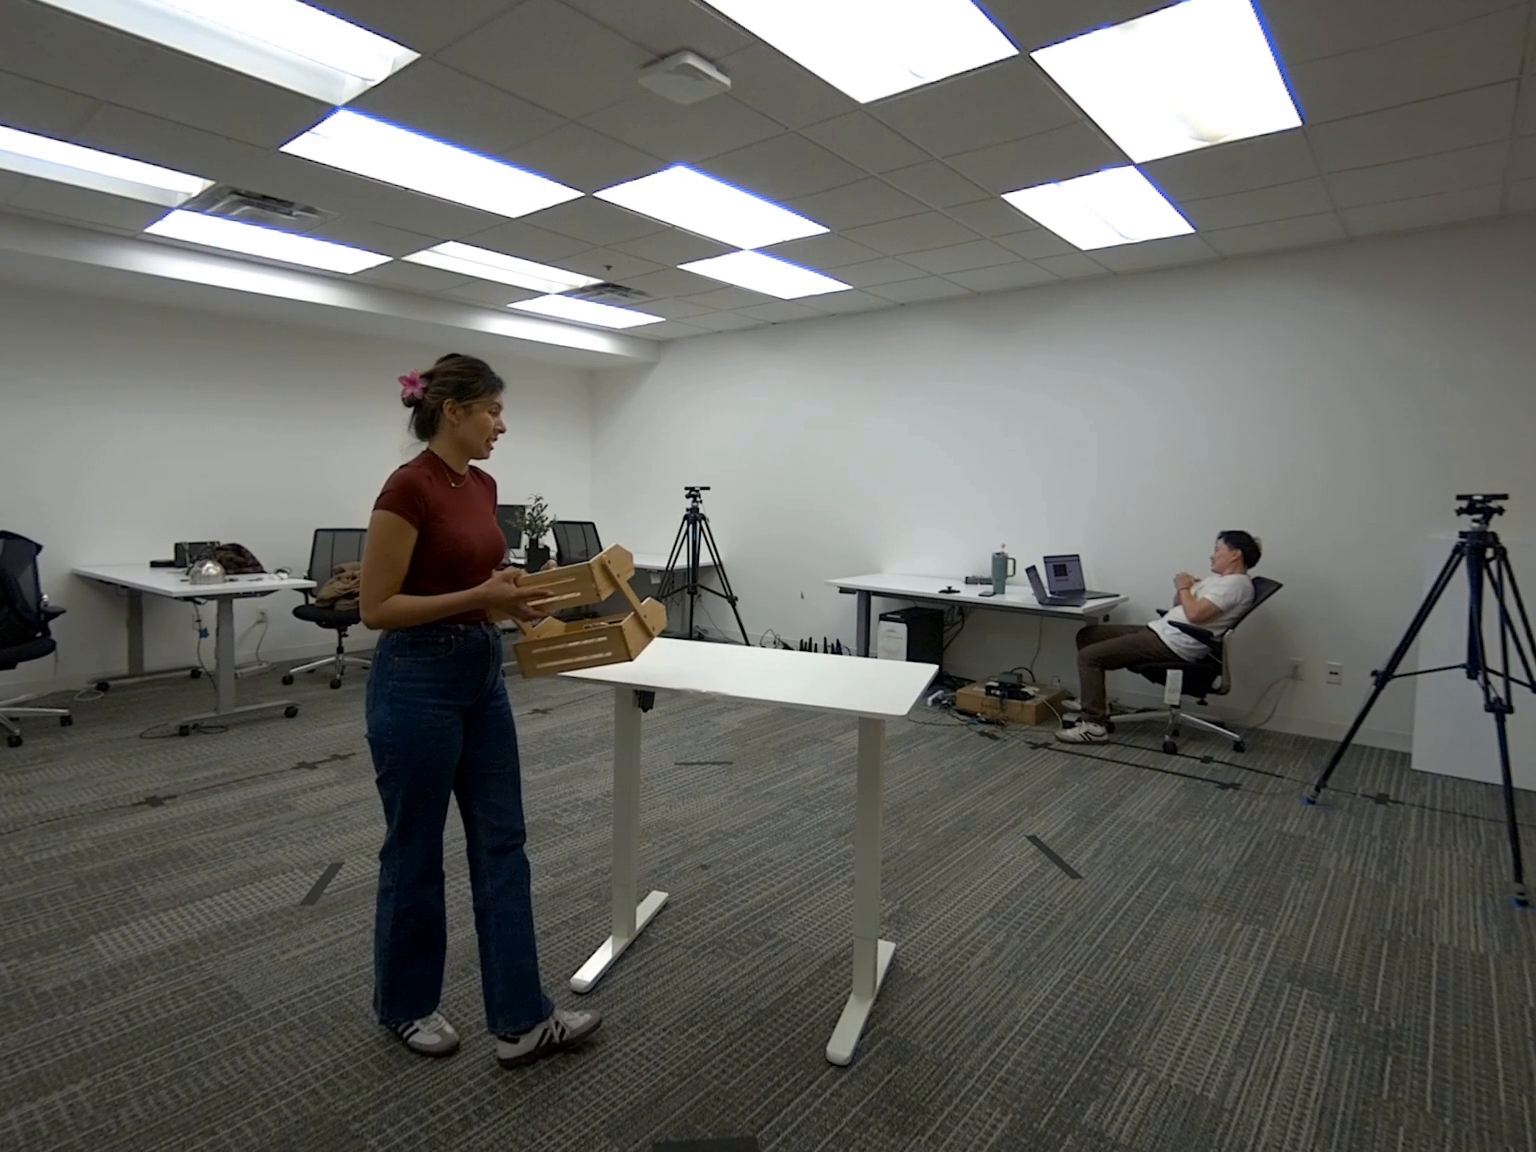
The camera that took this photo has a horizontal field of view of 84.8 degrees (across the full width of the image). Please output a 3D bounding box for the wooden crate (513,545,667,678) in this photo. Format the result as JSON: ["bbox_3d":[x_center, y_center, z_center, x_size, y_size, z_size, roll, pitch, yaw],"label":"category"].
[{"bbox_3d":[-0.470,0.072,2.040,0.329,0.269,0.302,-12,14,18],"label":"wooden crate"}]
